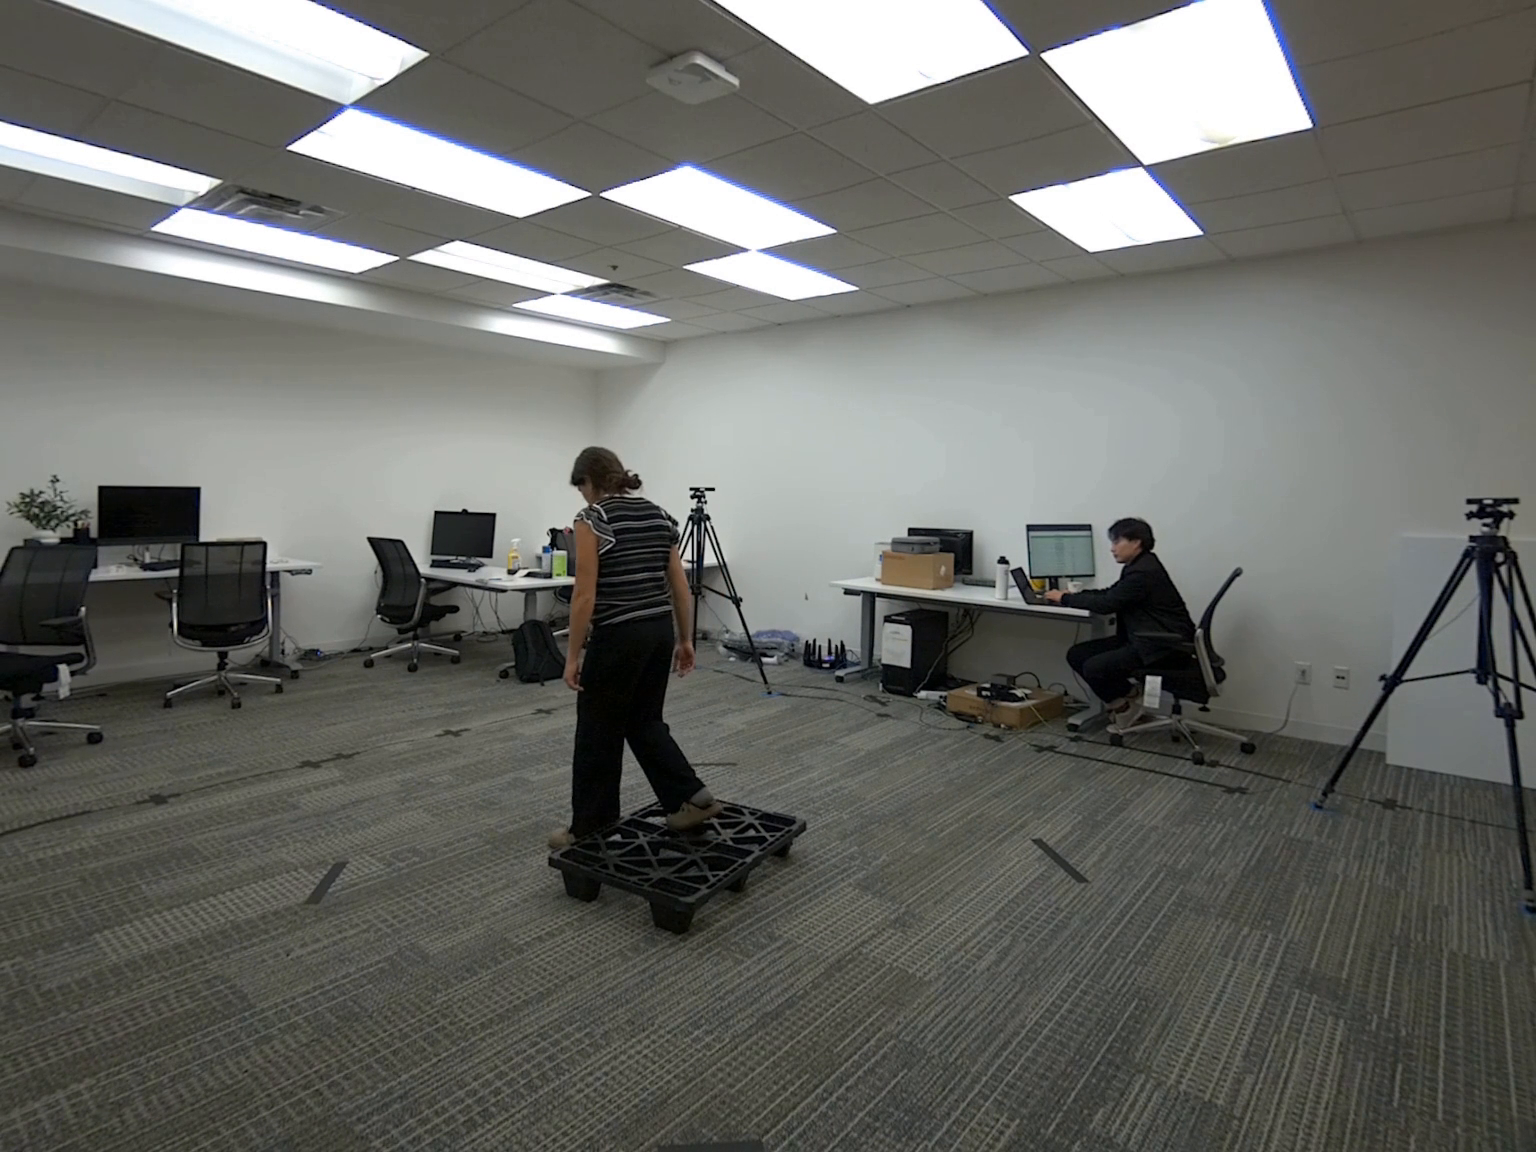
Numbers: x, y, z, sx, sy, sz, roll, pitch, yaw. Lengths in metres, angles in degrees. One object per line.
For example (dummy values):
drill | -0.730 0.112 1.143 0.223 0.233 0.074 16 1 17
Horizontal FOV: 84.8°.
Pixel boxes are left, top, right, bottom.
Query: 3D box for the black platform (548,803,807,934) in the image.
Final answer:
black platform | -0.311 1.004 3.064 0.623 0.143 0.785 3 6 29
